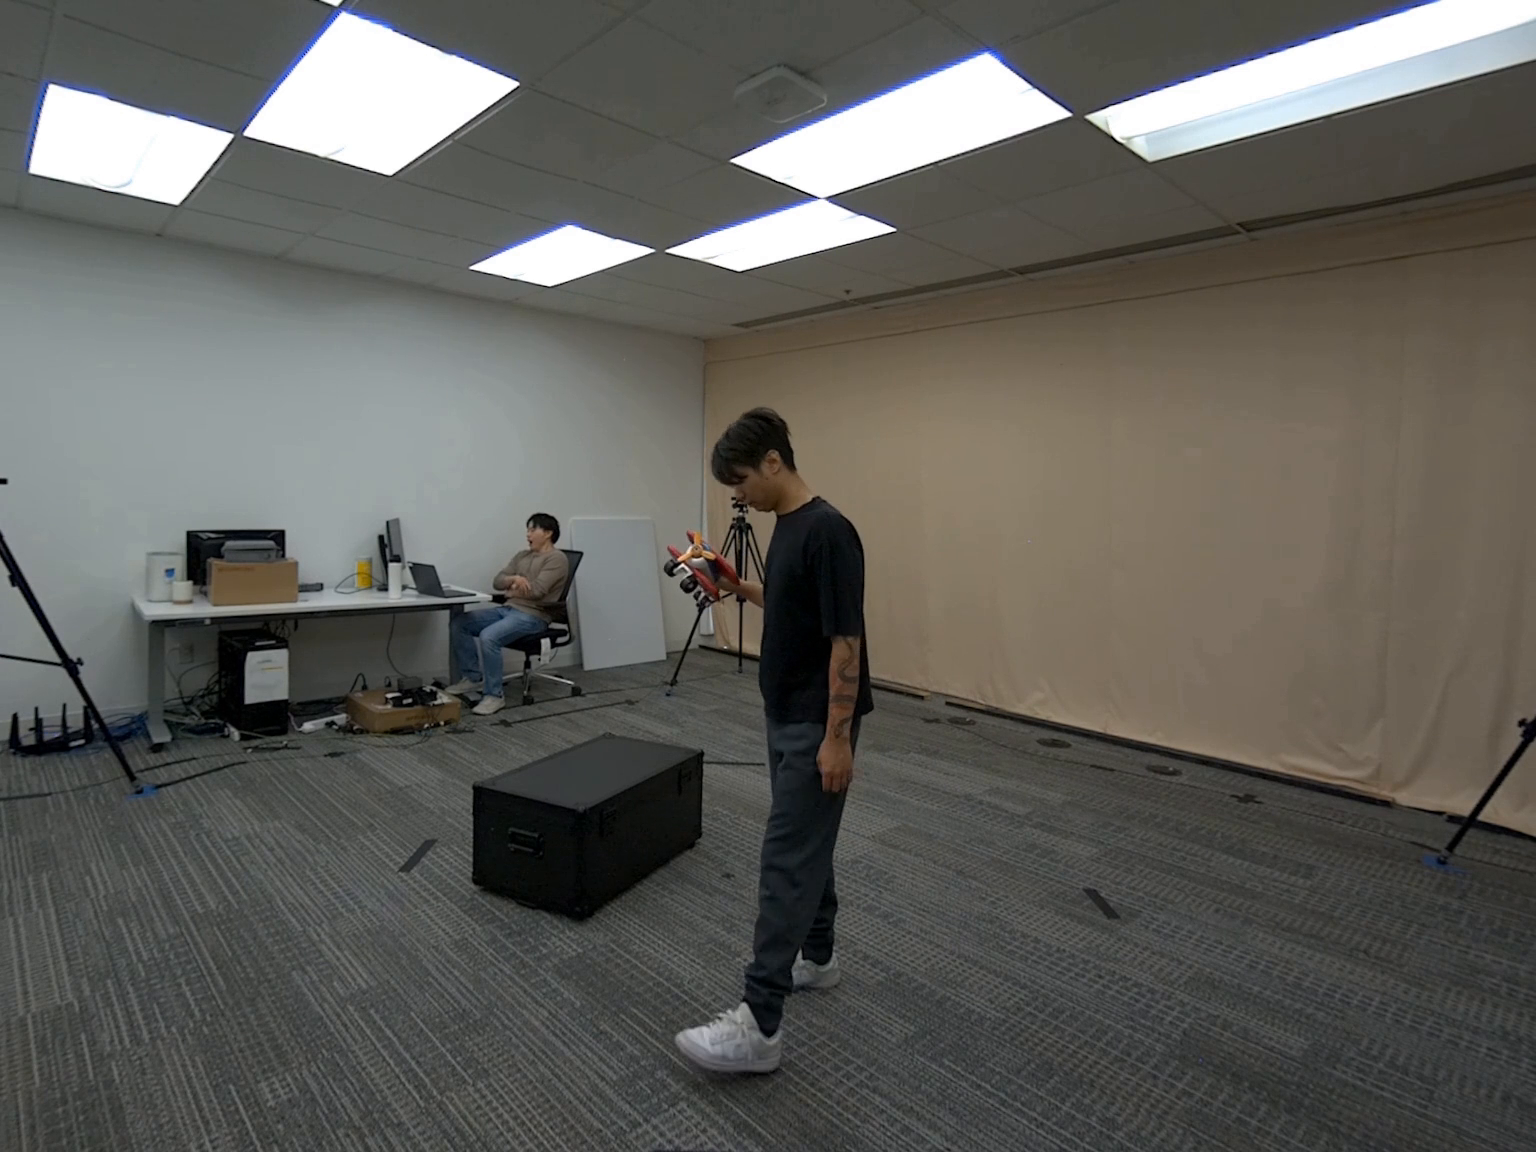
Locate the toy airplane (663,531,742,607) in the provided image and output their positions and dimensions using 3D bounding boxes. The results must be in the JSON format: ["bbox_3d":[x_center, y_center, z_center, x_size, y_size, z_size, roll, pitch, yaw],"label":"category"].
[{"bbox_3d":[-0.219,-0.017,2.615,0.253,0.156,0.257,45,-2,5],"label":"toy airplane"}]
